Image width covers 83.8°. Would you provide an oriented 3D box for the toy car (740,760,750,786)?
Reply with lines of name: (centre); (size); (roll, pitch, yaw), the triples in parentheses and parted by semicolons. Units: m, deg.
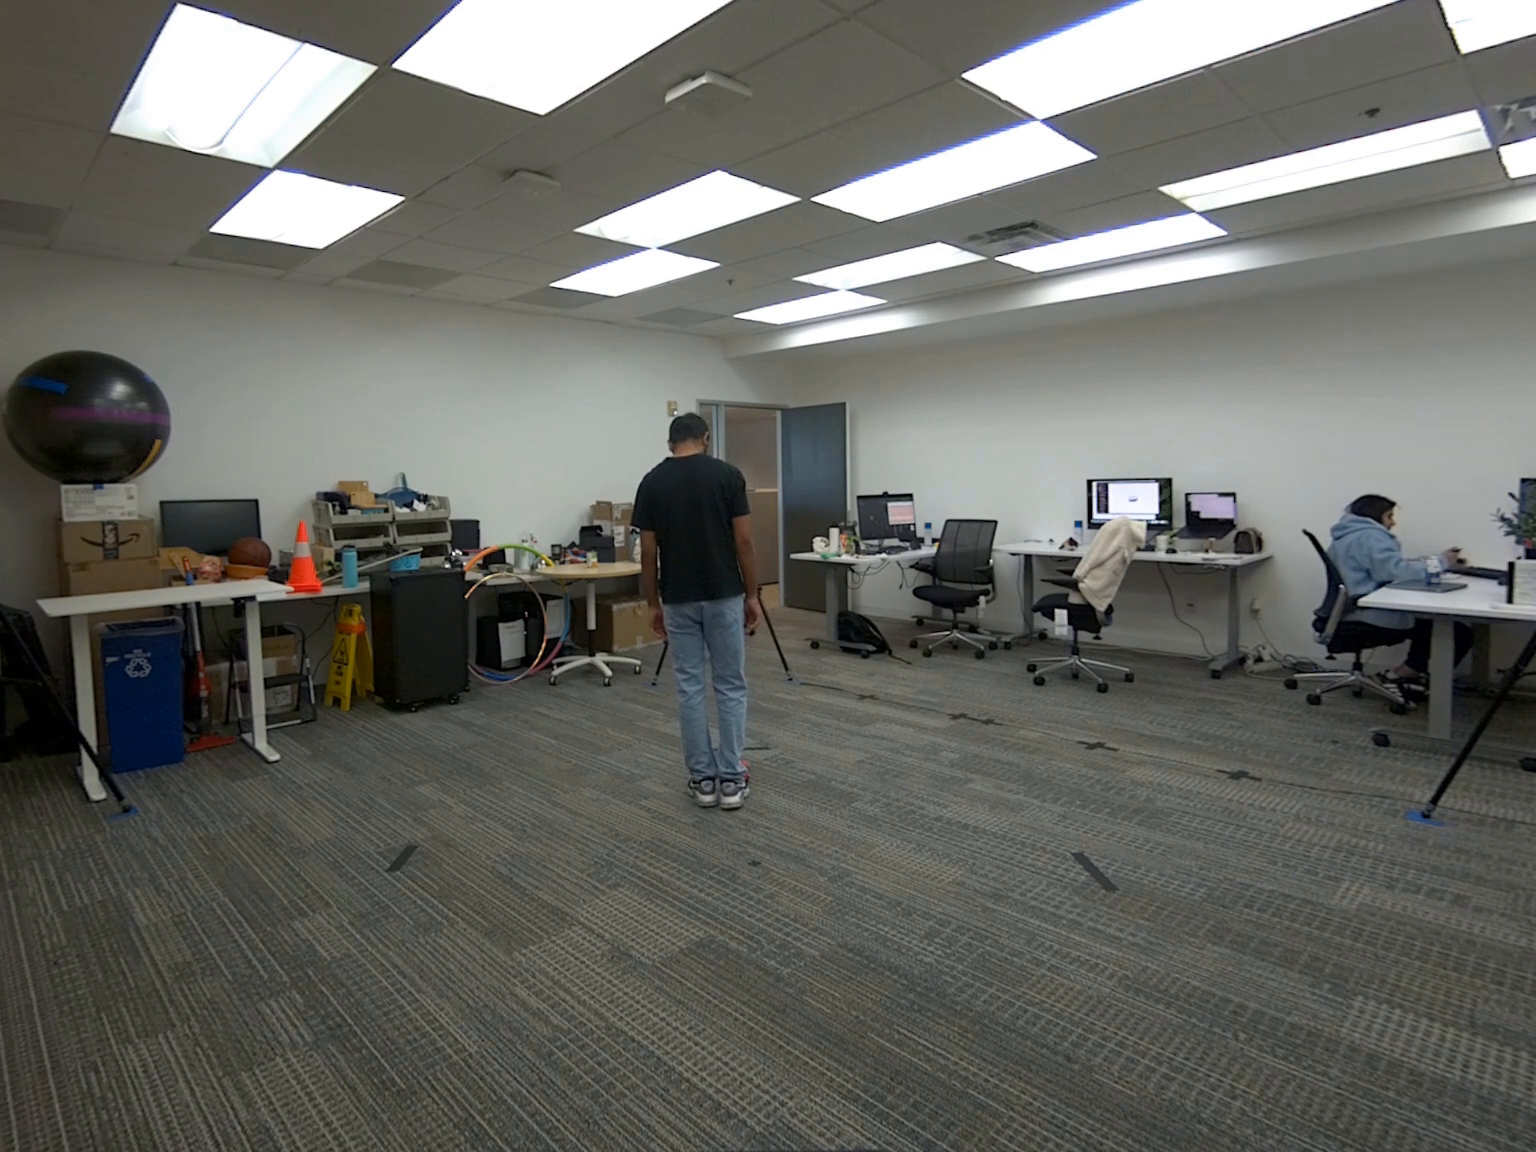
toy car: (-0.142, 0.915, 4.005); (0.130, 0.084, 0.253); (0, -5, -1)
